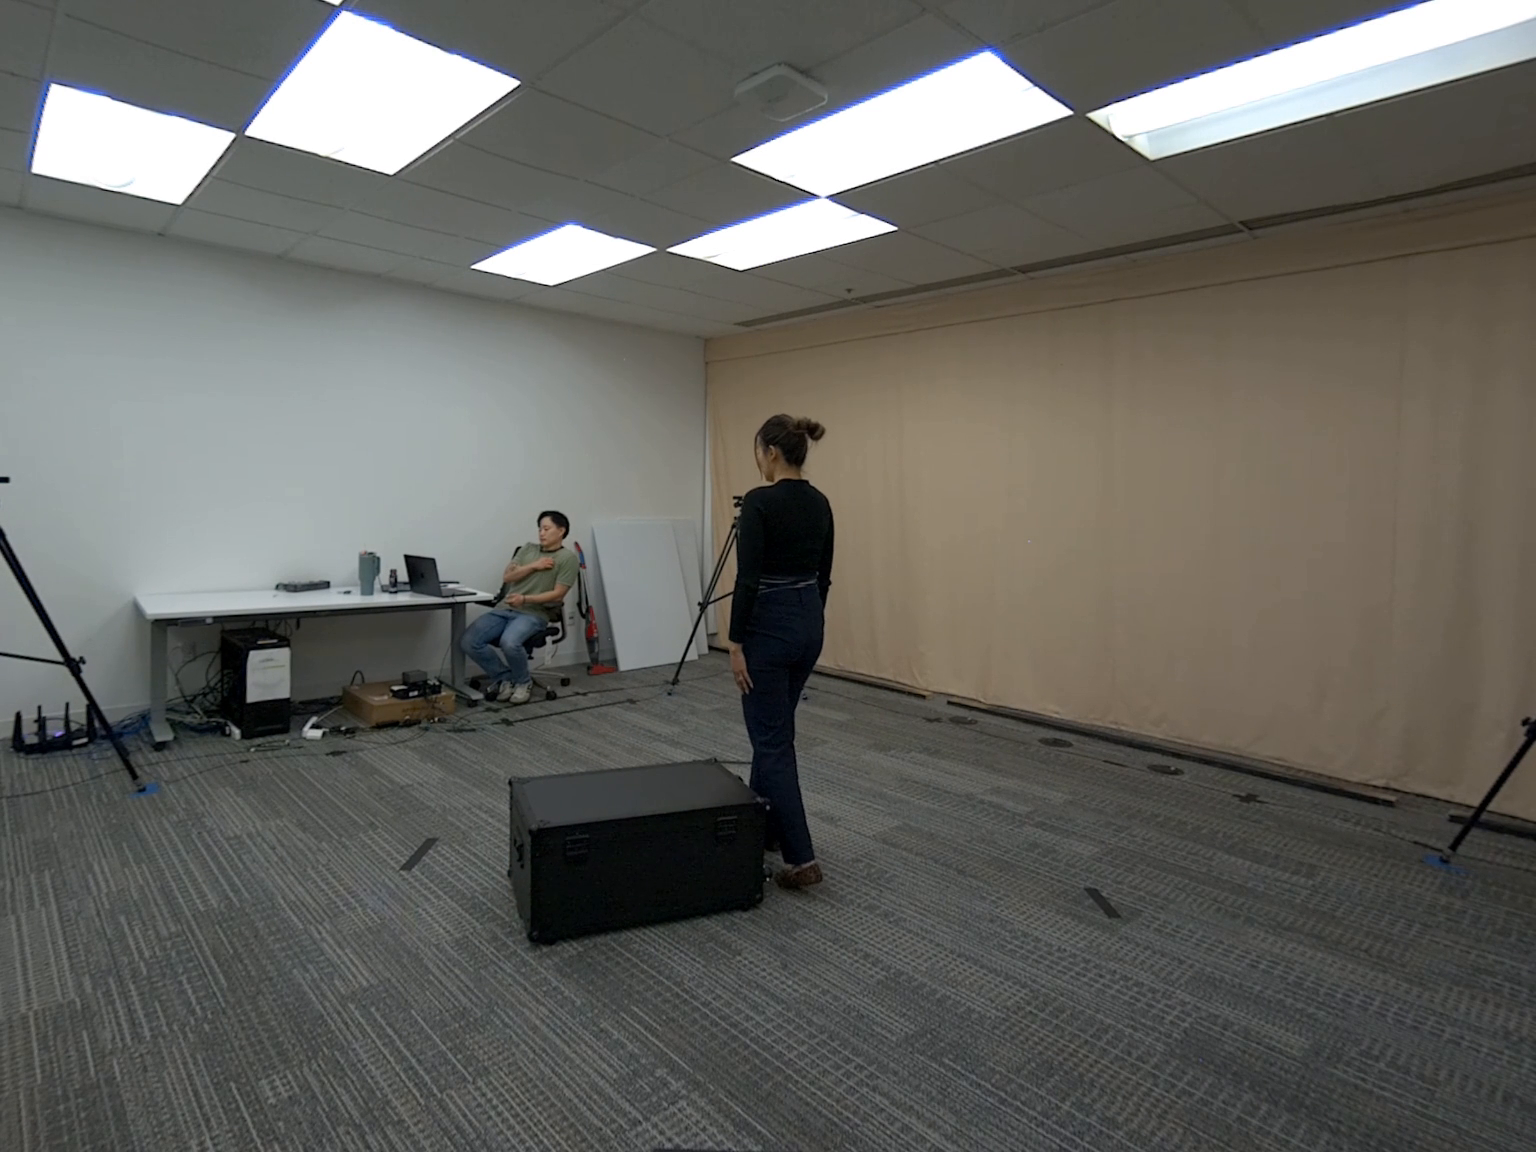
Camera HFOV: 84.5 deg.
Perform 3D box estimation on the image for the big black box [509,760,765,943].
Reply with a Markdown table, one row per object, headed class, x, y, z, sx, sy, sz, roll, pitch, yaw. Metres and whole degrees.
| class | x | y | z | sx | sy | sz | roll | pitch | yaw |
| --- | --- | --- | --- | --- | --- | --- | --- | --- | --- |
| big black box | -0.493 | 0.924 | 2.899 | 0.847 | 0.395 | 0.531 | 0 | 4 | -23 |
